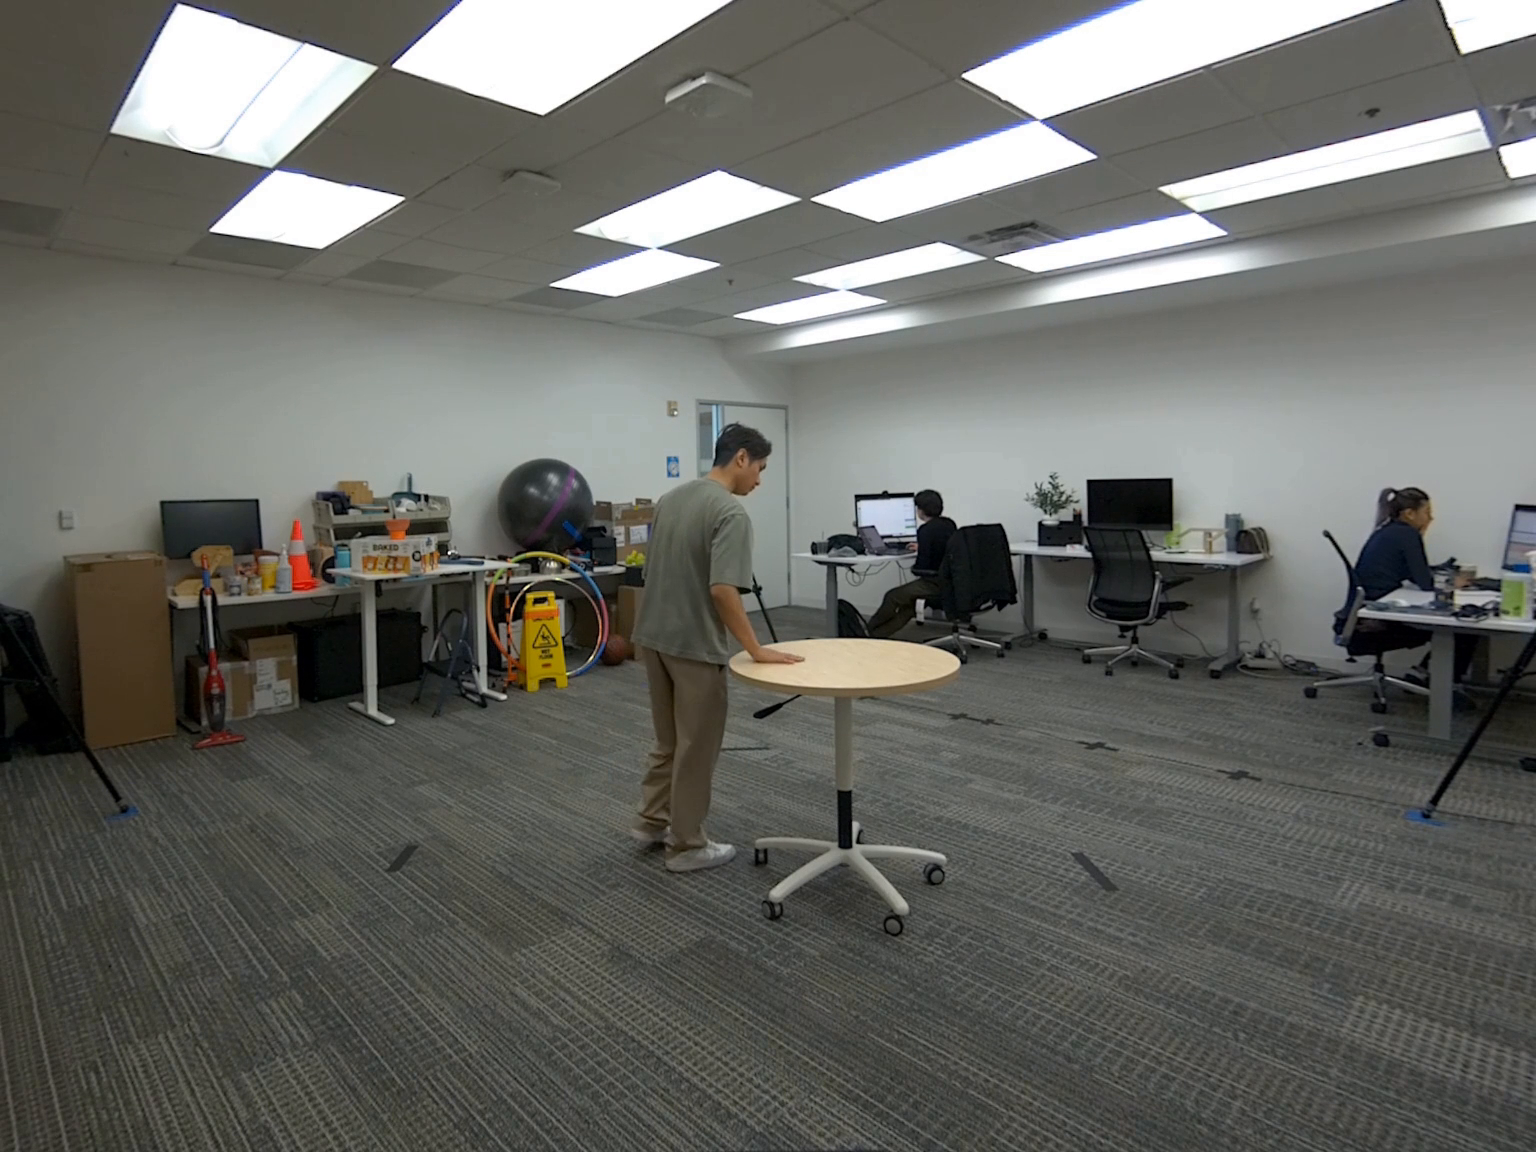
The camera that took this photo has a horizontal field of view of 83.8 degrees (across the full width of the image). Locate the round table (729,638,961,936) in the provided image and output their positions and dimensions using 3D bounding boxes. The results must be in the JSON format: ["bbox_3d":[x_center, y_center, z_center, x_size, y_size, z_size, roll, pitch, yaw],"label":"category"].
[{"bbox_3d":[0.268,0.675,2.891,0.763,0.791,0.768,-1,5,-2],"label":"round table"}]
